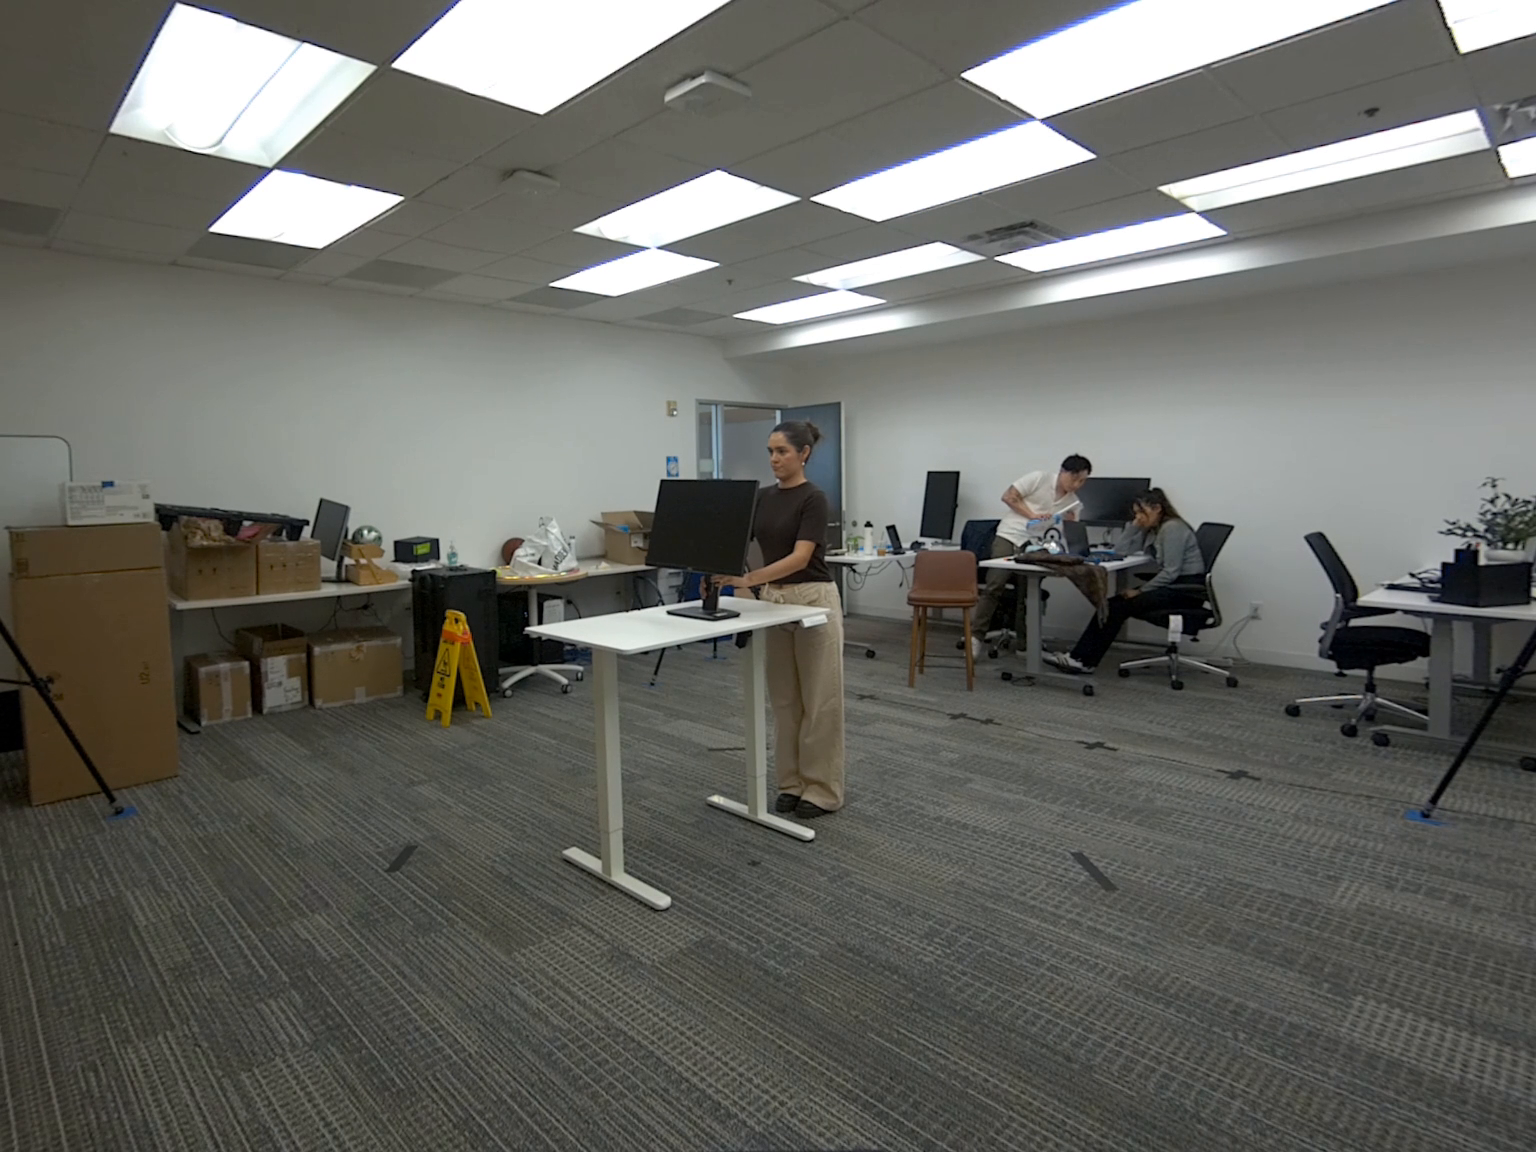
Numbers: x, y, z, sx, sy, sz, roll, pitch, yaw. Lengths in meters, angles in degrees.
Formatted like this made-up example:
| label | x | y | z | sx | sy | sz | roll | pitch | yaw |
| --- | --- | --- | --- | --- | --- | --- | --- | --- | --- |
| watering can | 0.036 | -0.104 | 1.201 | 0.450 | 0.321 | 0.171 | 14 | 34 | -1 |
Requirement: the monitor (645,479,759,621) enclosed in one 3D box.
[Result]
| label | x | y | z | sx | sy | sz | roll | pitch | yaw |
| --- | --- | --- | --- | --- | --- | --- | --- | --- | --- |
| monitor | -0.241 | -0.106 | 3.236 | 0.547 | 0.512 | 0.170 | 6 | 10 | 43 |
